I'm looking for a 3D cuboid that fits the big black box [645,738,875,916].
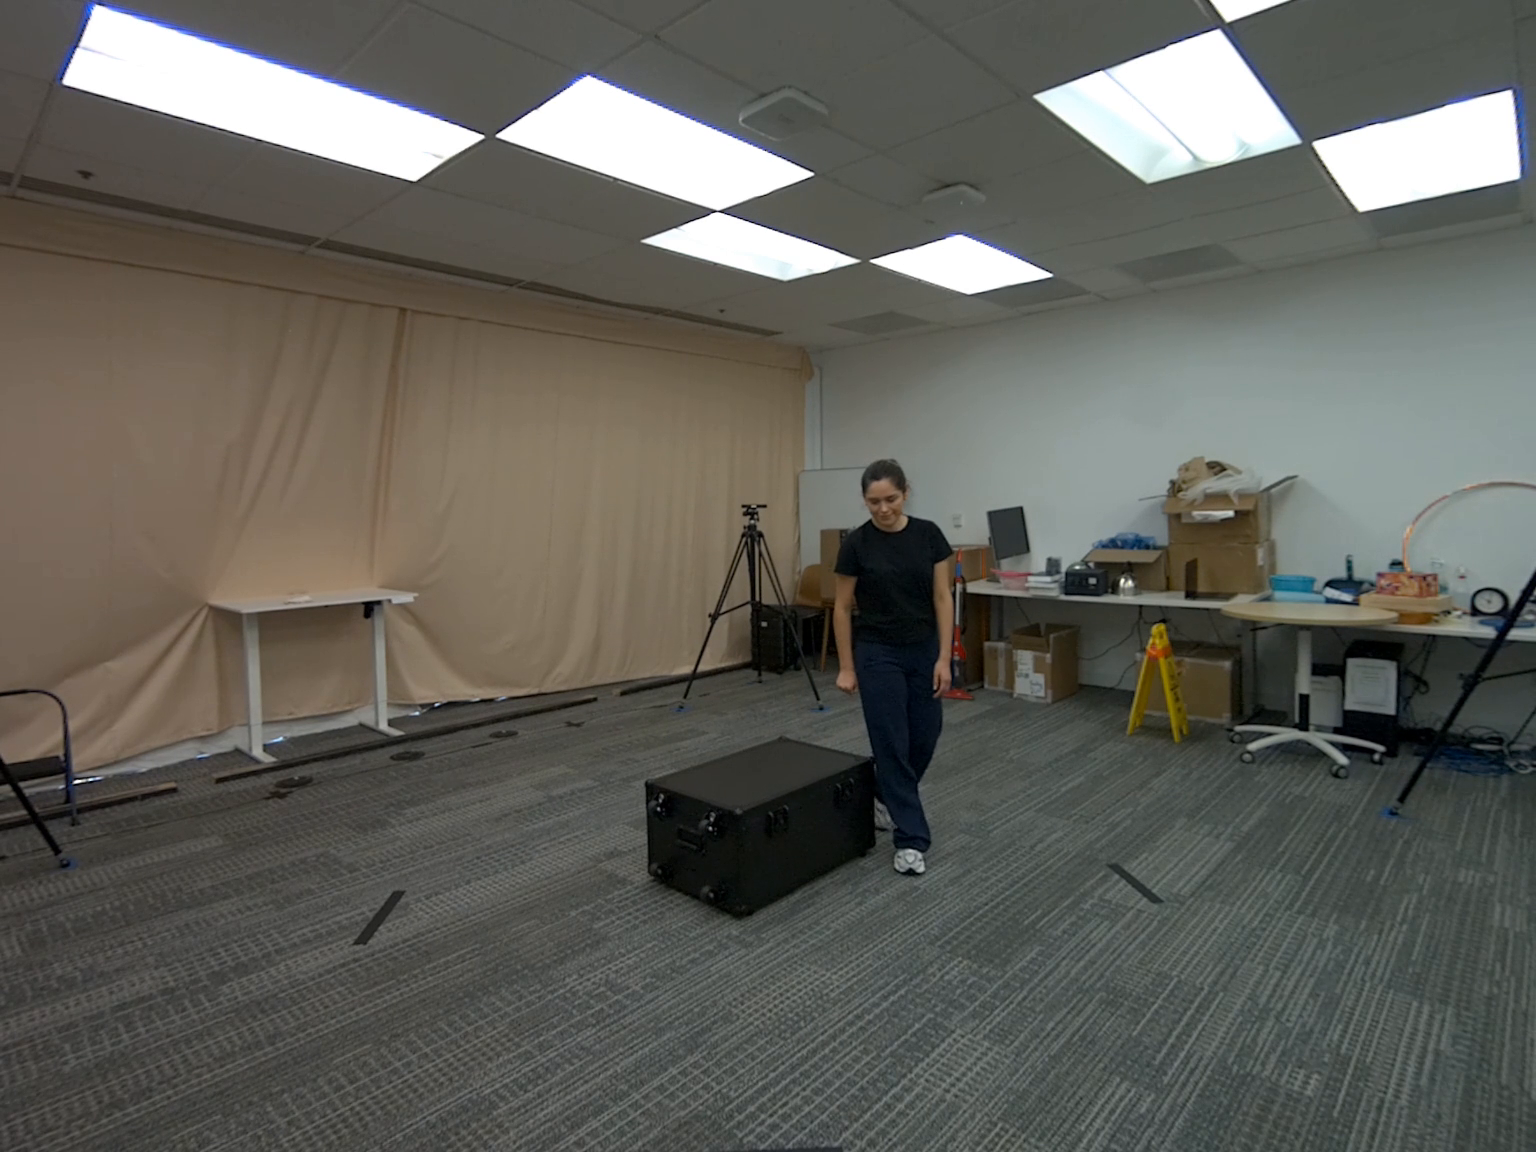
[{"bbox_3d":[-0.024,0.930,3.218,0.538,0.395,0.835,3,5,43],"label":"big black box"}]
